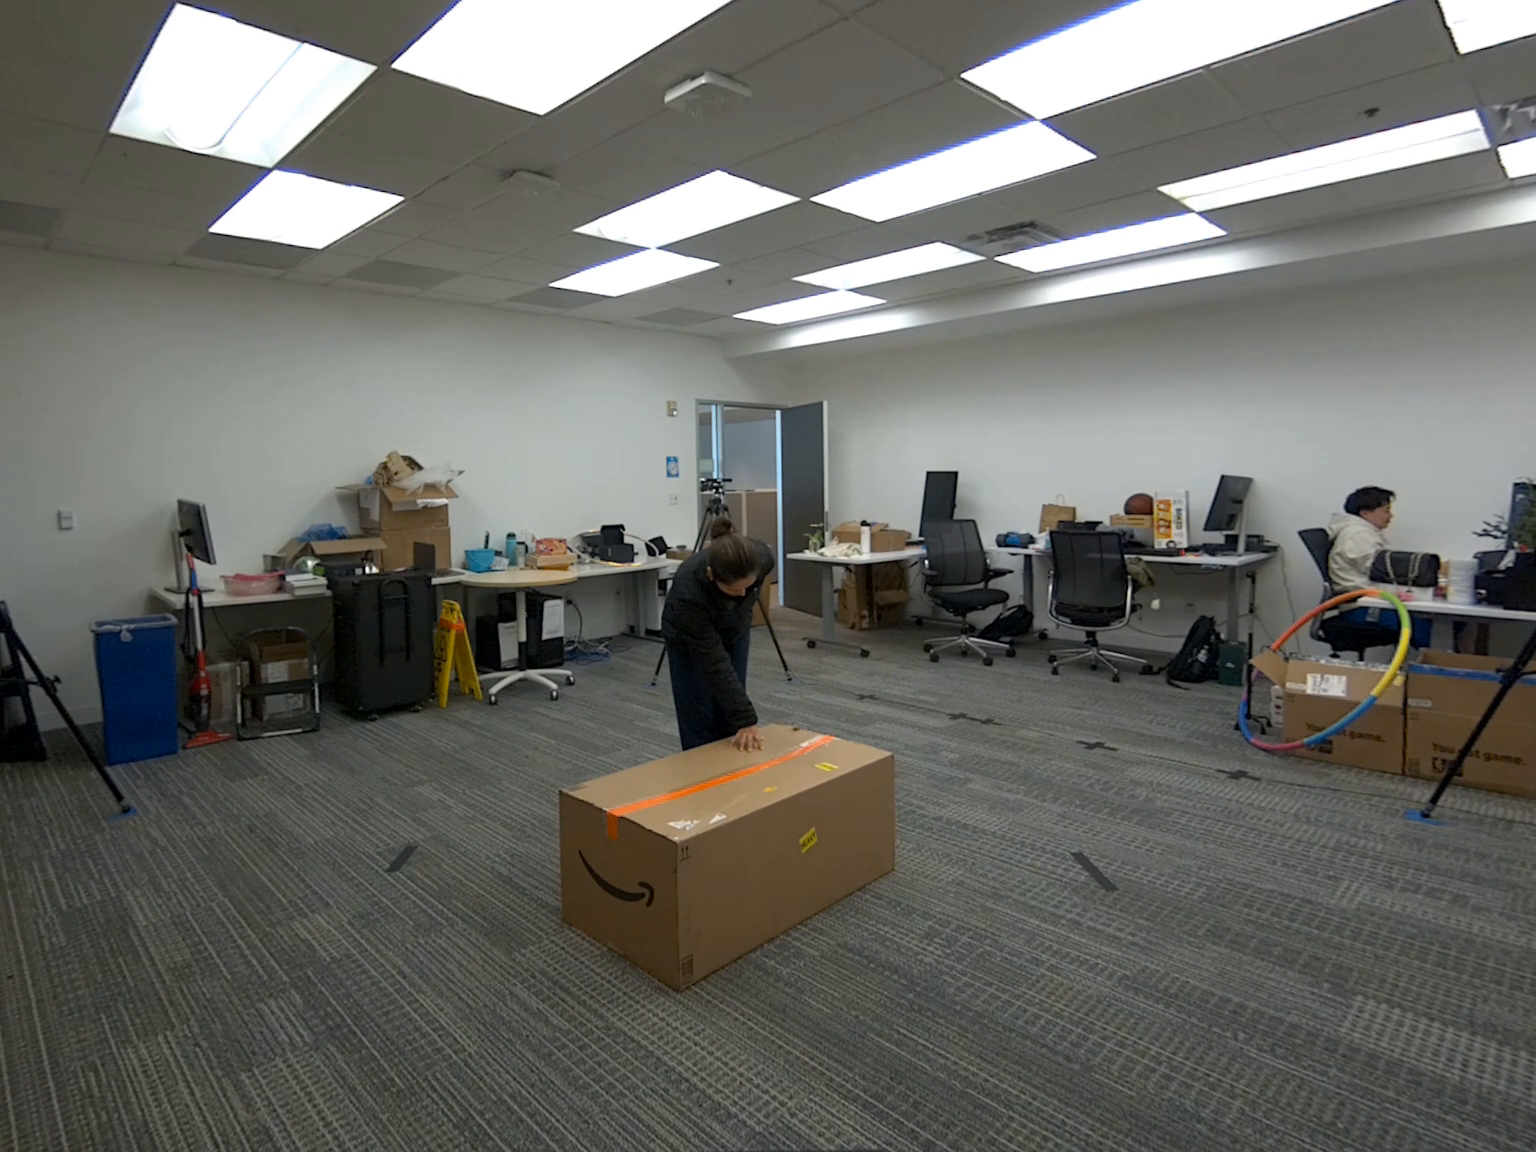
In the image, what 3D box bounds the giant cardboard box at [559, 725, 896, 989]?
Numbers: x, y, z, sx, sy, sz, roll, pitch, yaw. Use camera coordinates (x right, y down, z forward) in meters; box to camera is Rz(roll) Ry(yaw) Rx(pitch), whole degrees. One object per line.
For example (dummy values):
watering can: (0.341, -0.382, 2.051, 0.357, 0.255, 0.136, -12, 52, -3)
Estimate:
giant cardboard box: (-0.107, 0.864, 2.885, 0.601, 0.445, 1.001, 3, 7, 44)
